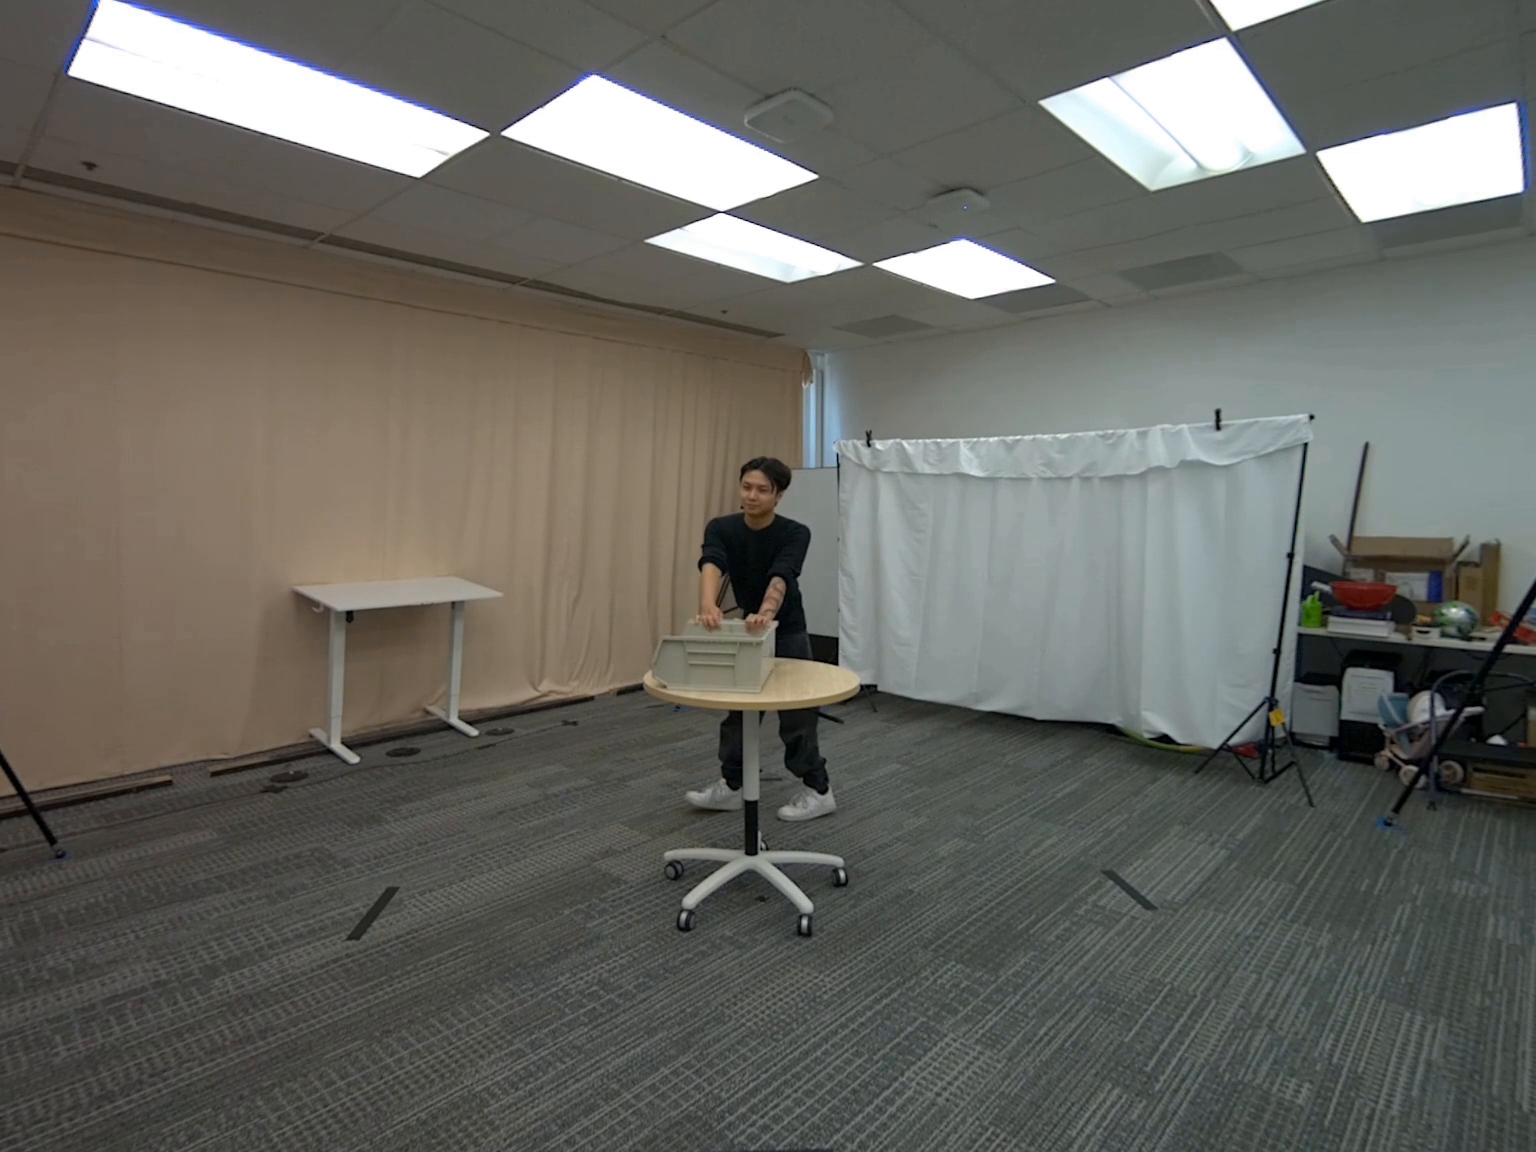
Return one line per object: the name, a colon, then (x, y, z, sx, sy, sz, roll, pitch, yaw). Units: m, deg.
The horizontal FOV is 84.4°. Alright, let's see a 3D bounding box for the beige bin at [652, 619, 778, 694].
beige bin: (-0.167, 0.269, 2.963, 0.380, 0.188, 0.420, 3, 4, 6)
